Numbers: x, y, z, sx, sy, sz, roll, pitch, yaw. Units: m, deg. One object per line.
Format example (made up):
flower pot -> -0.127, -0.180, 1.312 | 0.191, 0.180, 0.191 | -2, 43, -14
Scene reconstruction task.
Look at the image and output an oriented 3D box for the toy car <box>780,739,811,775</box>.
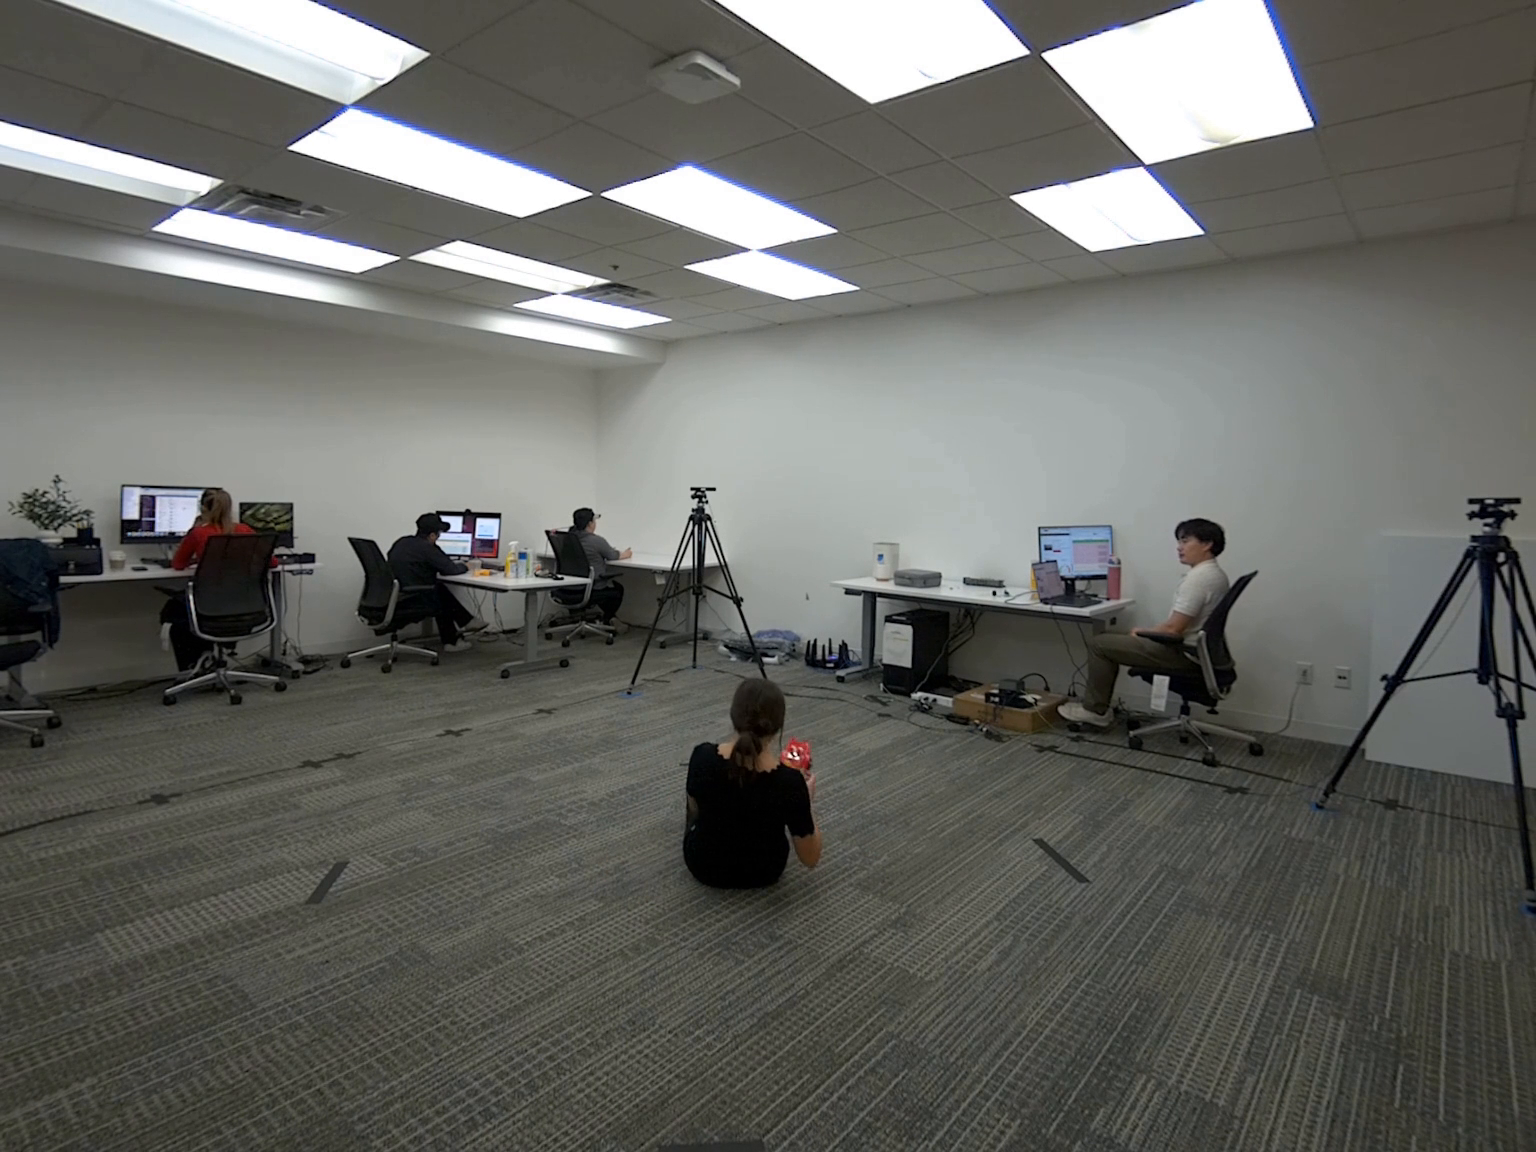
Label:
toy car -> 0.067, 0.735, 3.160 | 0.133, 0.258, 0.080 | 8, -29, 19
